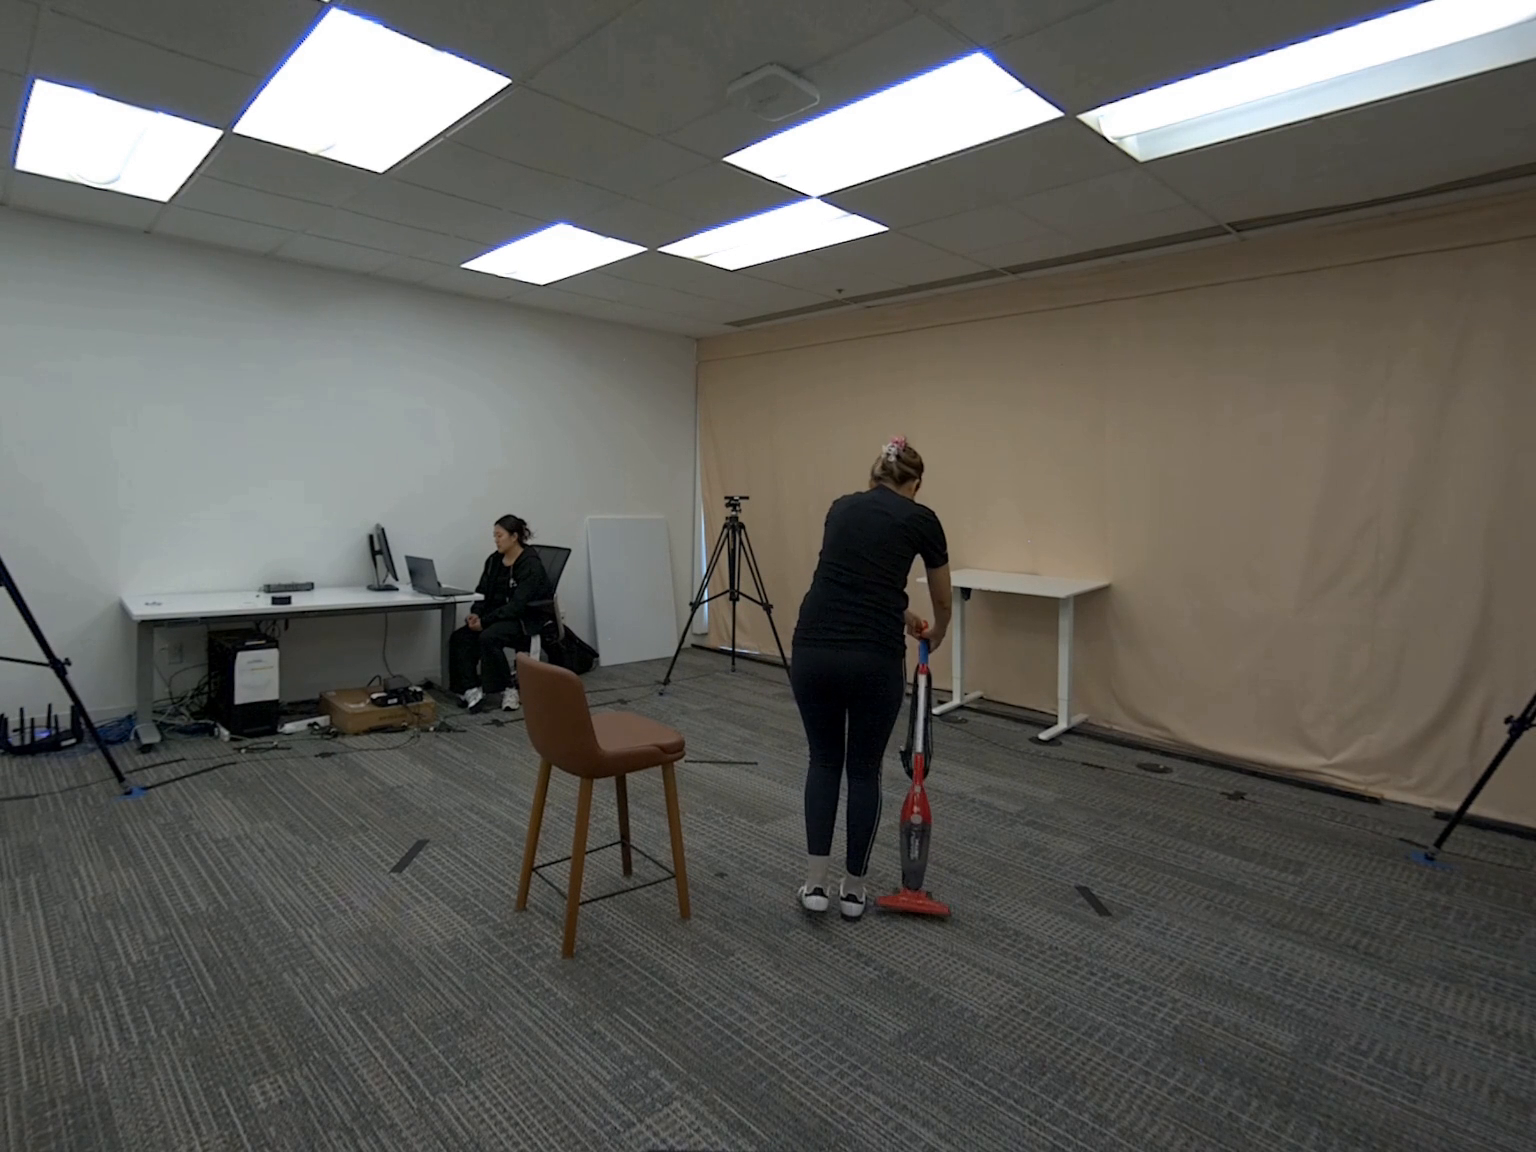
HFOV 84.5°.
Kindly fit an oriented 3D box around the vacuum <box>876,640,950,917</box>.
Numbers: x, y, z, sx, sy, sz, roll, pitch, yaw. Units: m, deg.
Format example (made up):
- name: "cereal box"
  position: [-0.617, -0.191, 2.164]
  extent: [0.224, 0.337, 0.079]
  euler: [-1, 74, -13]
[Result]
- name: "vacuum"
  position: [0.553, 0.664, 3.103]
  extent: [0.255, 1.065, 0.140]
  euler: [0, -30, 14]
